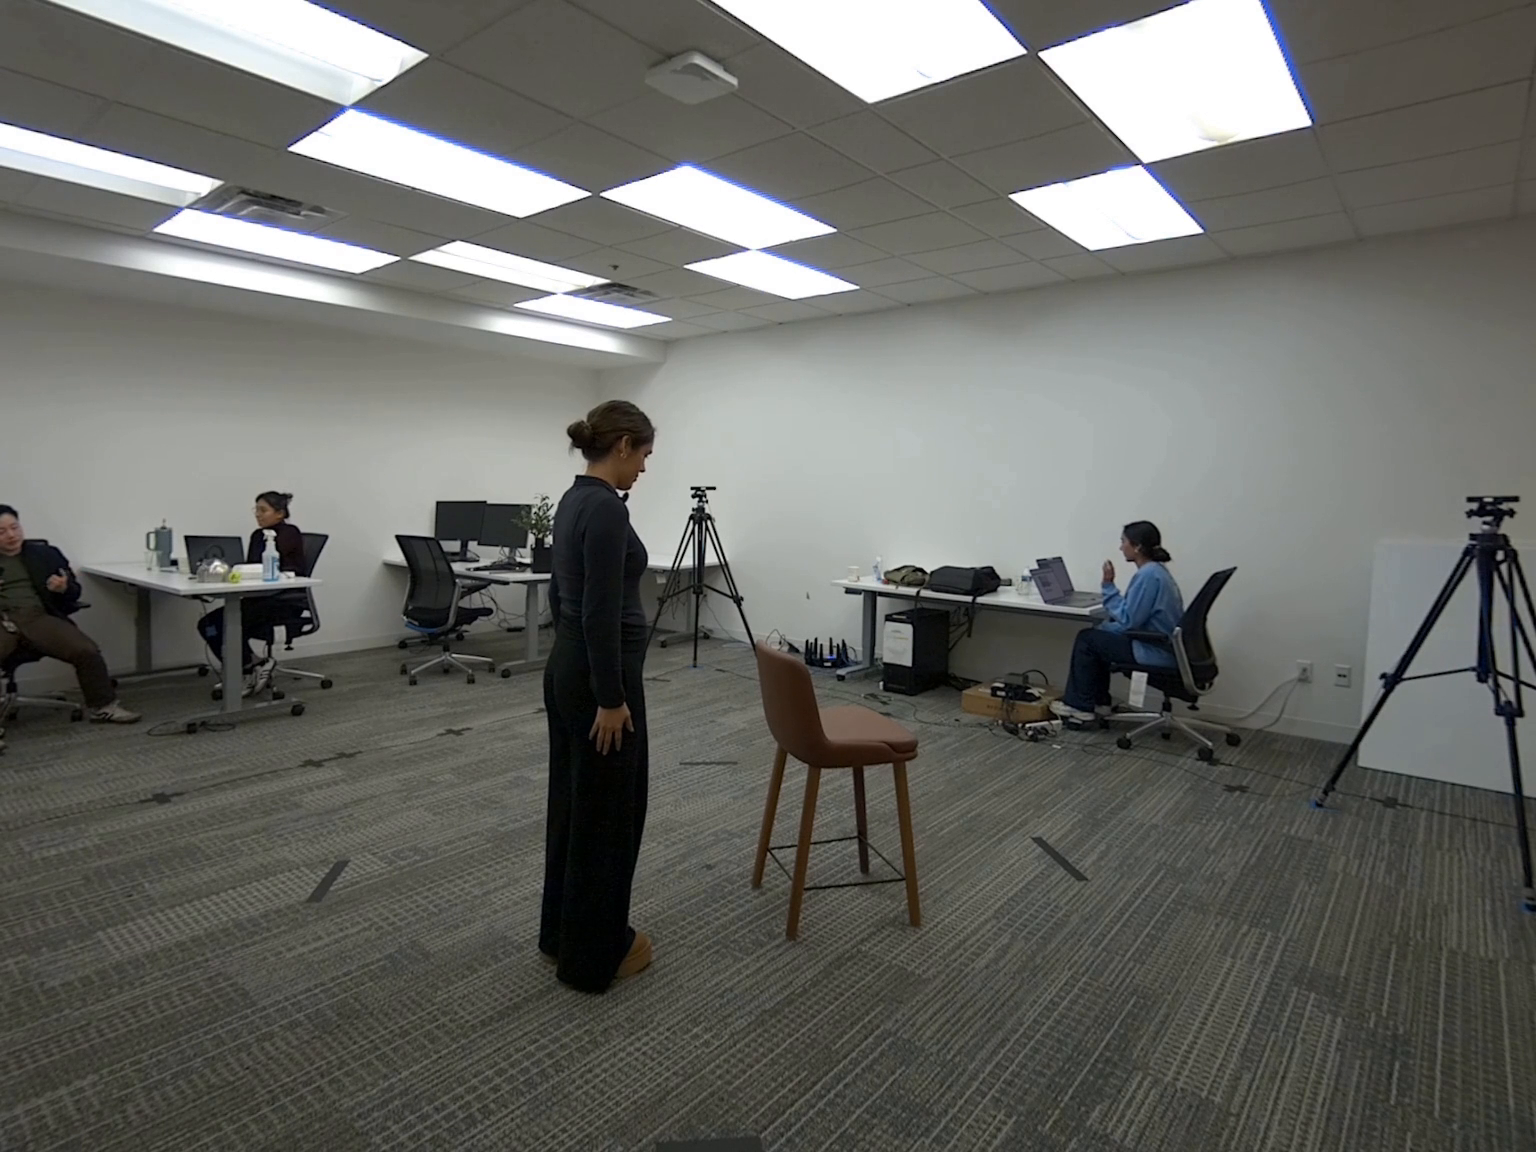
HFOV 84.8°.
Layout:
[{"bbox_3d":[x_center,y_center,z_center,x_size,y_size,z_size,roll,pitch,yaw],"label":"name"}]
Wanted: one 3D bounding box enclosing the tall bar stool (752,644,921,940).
[{"bbox_3d":[0.207,0.658,2.835,0.460,0.887,0.466,-2,4,-17],"label":"tall bar stool"}]
